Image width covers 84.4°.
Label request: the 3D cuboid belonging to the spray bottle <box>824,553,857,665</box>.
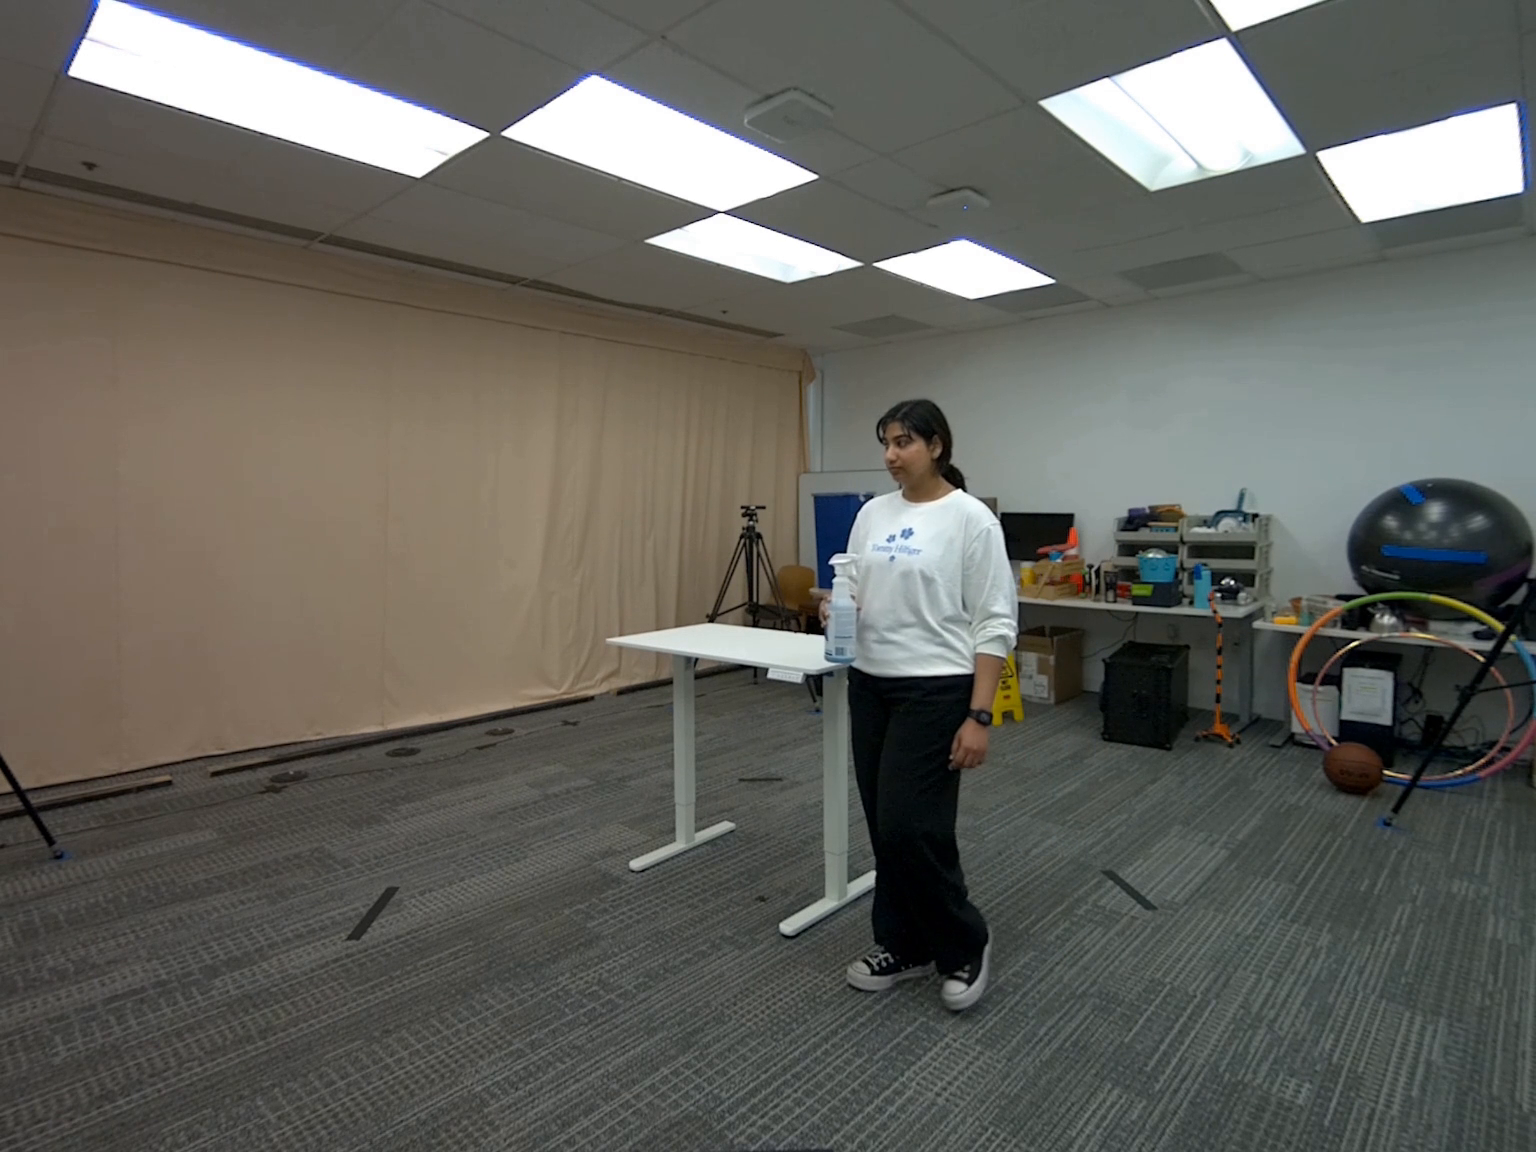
[{"bbox_3d":[0.225,0.092,2.299,0.085,0.296,0.092,1,5,-23],"label":"spray bottle"}]
